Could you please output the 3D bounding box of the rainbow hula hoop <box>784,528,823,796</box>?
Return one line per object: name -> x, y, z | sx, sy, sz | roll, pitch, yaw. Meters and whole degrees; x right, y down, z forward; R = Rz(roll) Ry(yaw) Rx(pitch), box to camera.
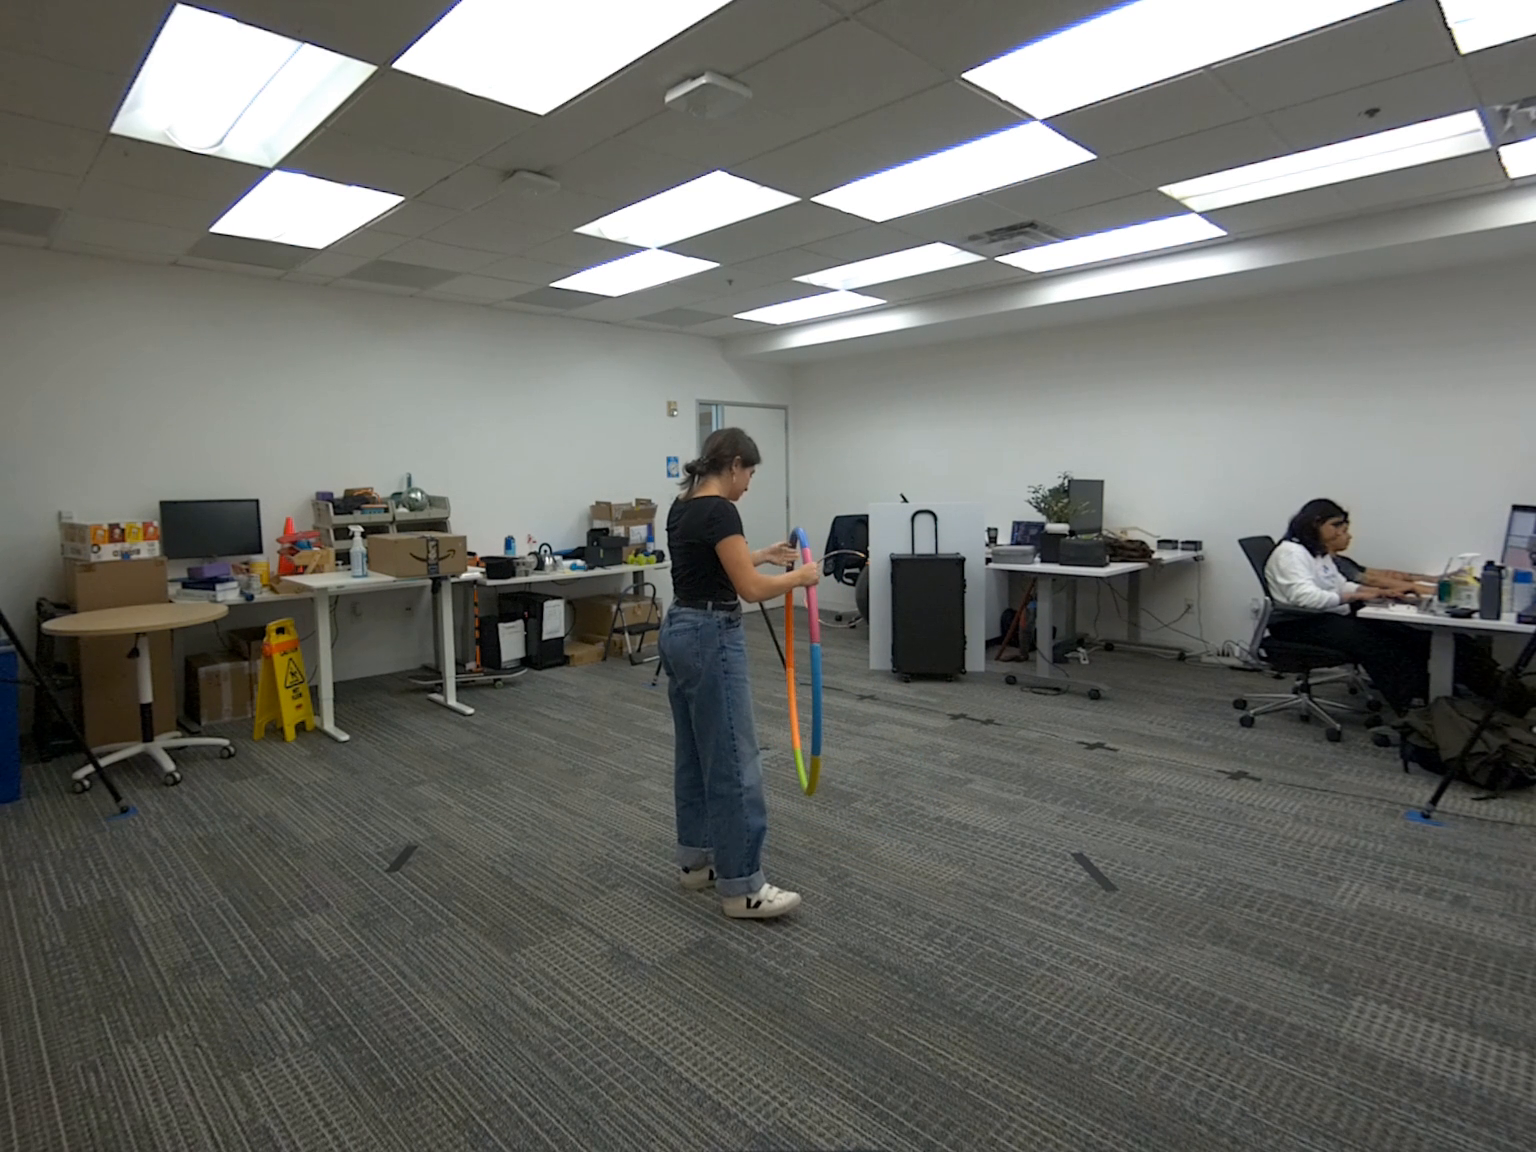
rainbow hula hoop -> 0.128, 0.316, 3.217 | 0.035, 0.975, 0.985 | -1, 5, -5
